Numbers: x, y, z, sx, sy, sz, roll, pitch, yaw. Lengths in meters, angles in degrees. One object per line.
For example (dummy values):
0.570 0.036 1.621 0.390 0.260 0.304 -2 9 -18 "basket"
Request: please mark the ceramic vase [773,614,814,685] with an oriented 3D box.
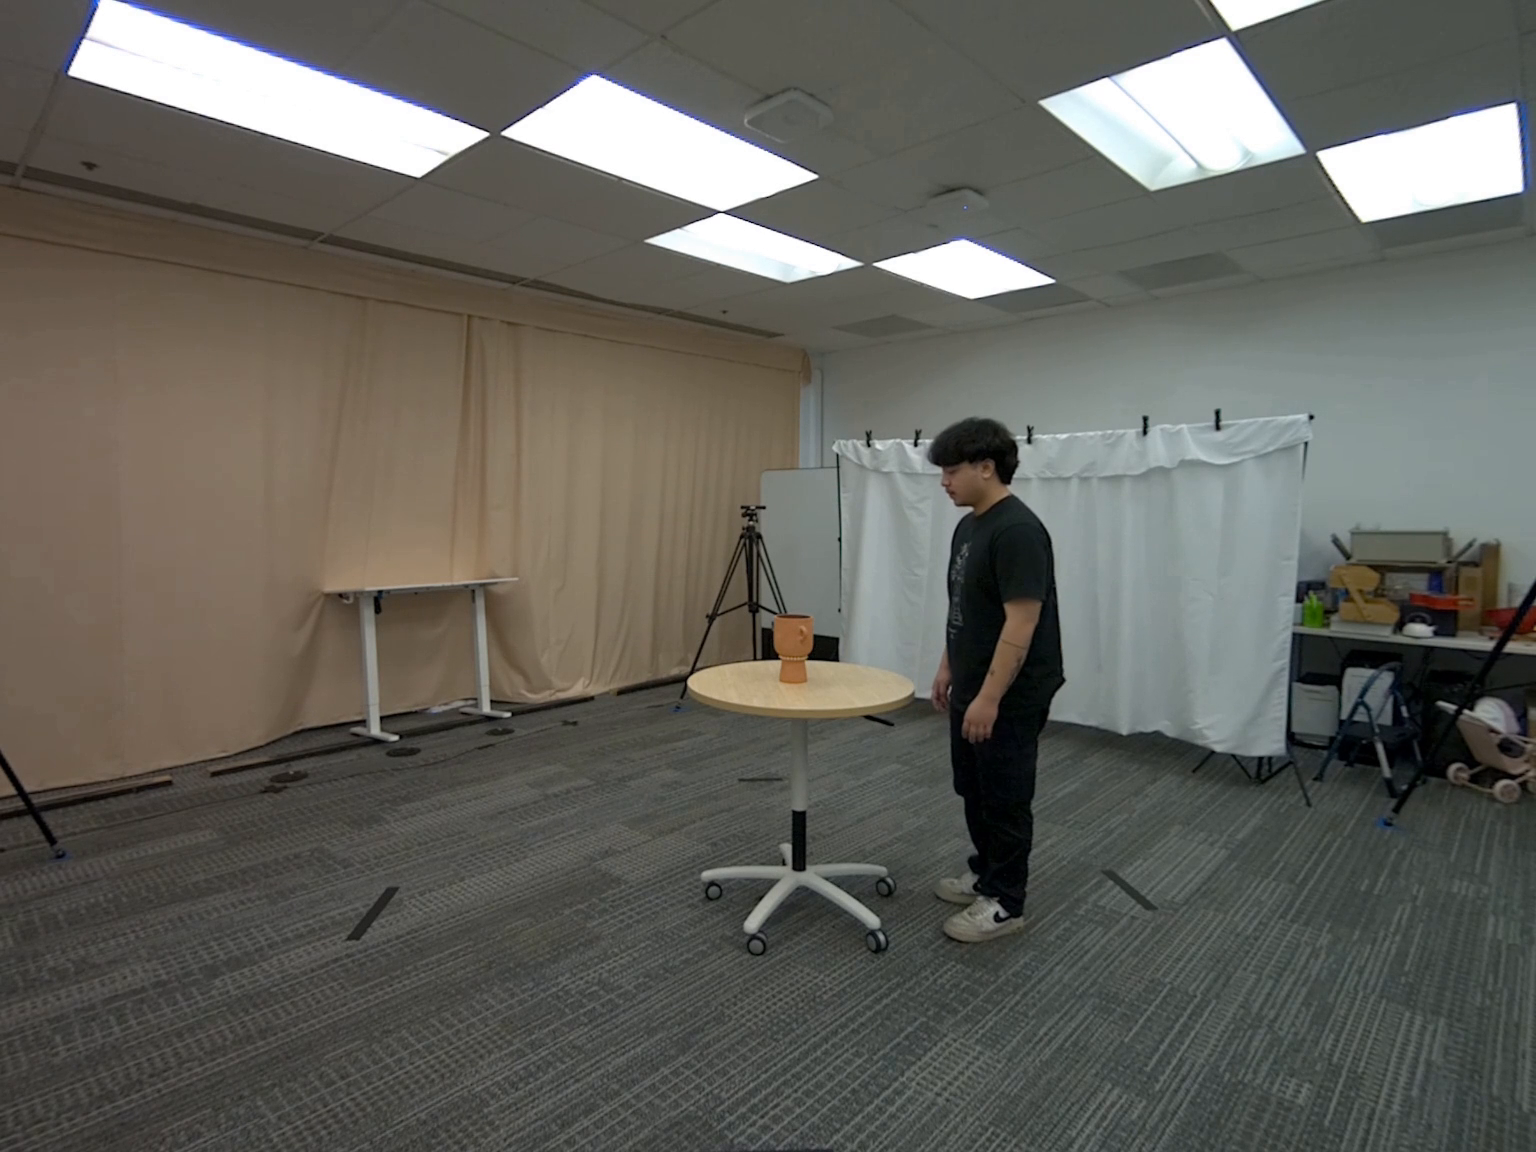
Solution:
0.094 0.251 2.880 0.137 0.219 0.156 1 4 15 "ceramic vase"
